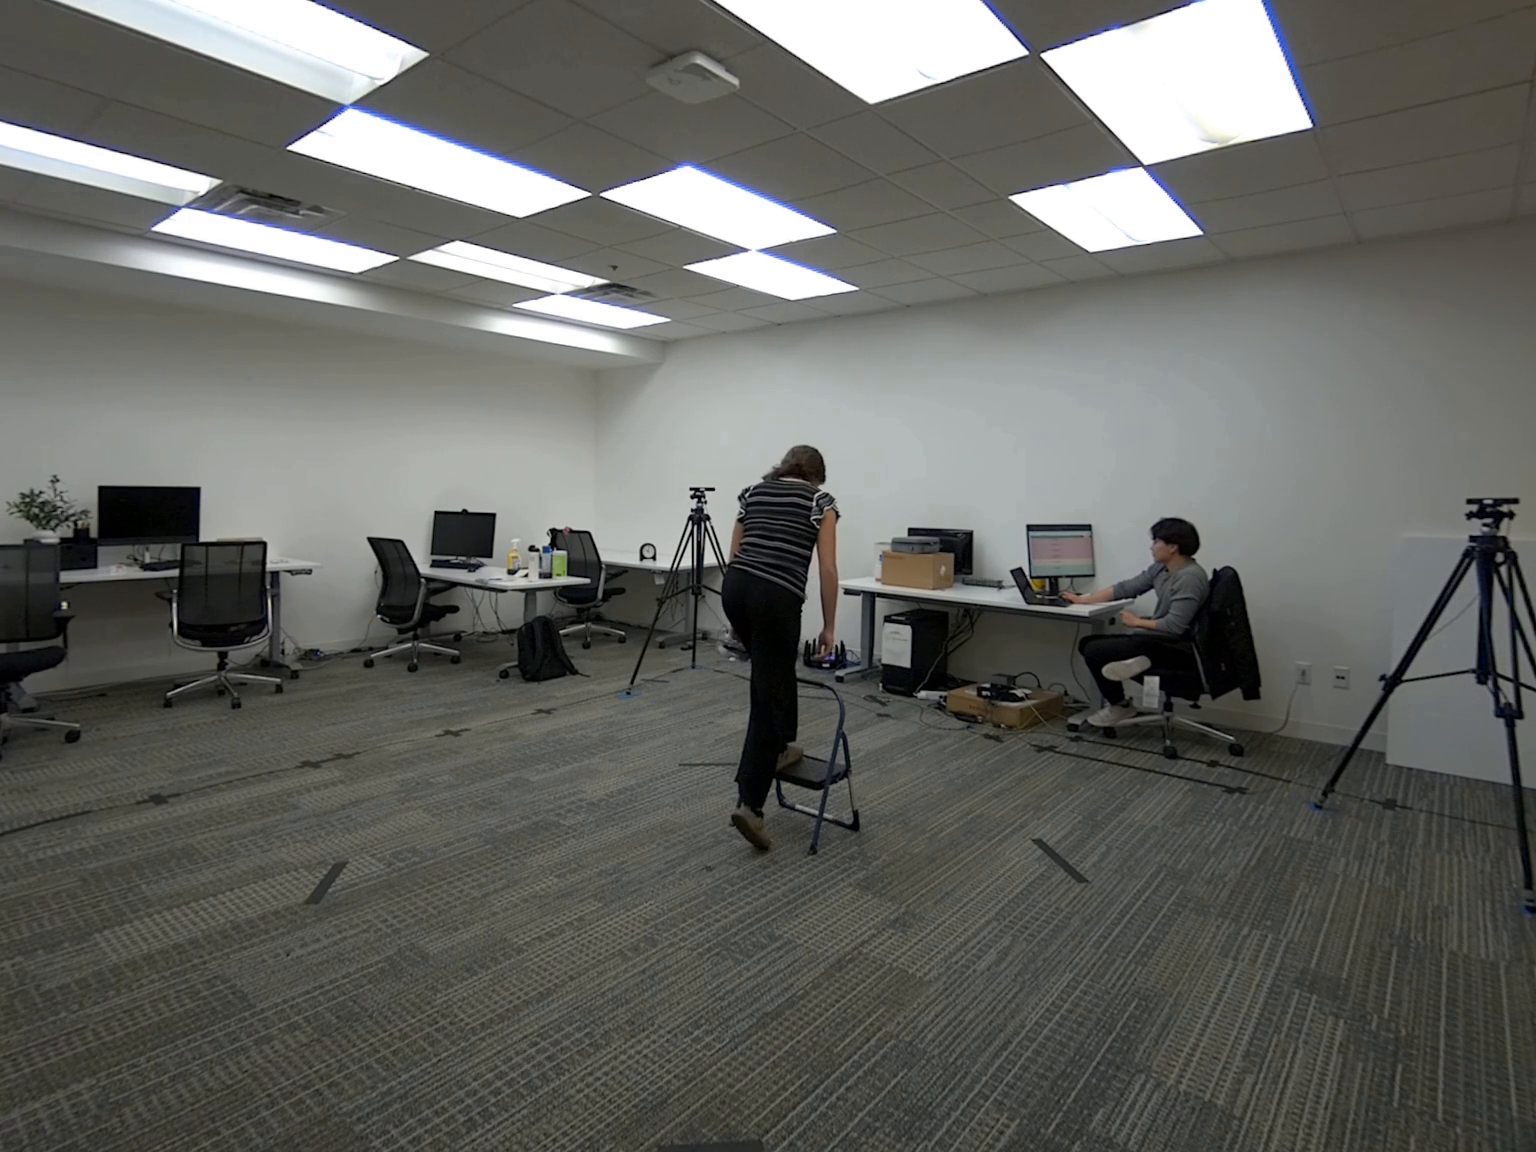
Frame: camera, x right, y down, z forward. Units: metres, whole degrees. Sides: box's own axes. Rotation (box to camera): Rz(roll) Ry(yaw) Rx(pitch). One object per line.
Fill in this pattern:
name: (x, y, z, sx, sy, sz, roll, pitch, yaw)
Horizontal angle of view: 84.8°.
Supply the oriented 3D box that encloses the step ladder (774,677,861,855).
step ladder: (0.113, 0.737, 3.495, 0.445, 0.604, 0.339, 4, 5, 39)
